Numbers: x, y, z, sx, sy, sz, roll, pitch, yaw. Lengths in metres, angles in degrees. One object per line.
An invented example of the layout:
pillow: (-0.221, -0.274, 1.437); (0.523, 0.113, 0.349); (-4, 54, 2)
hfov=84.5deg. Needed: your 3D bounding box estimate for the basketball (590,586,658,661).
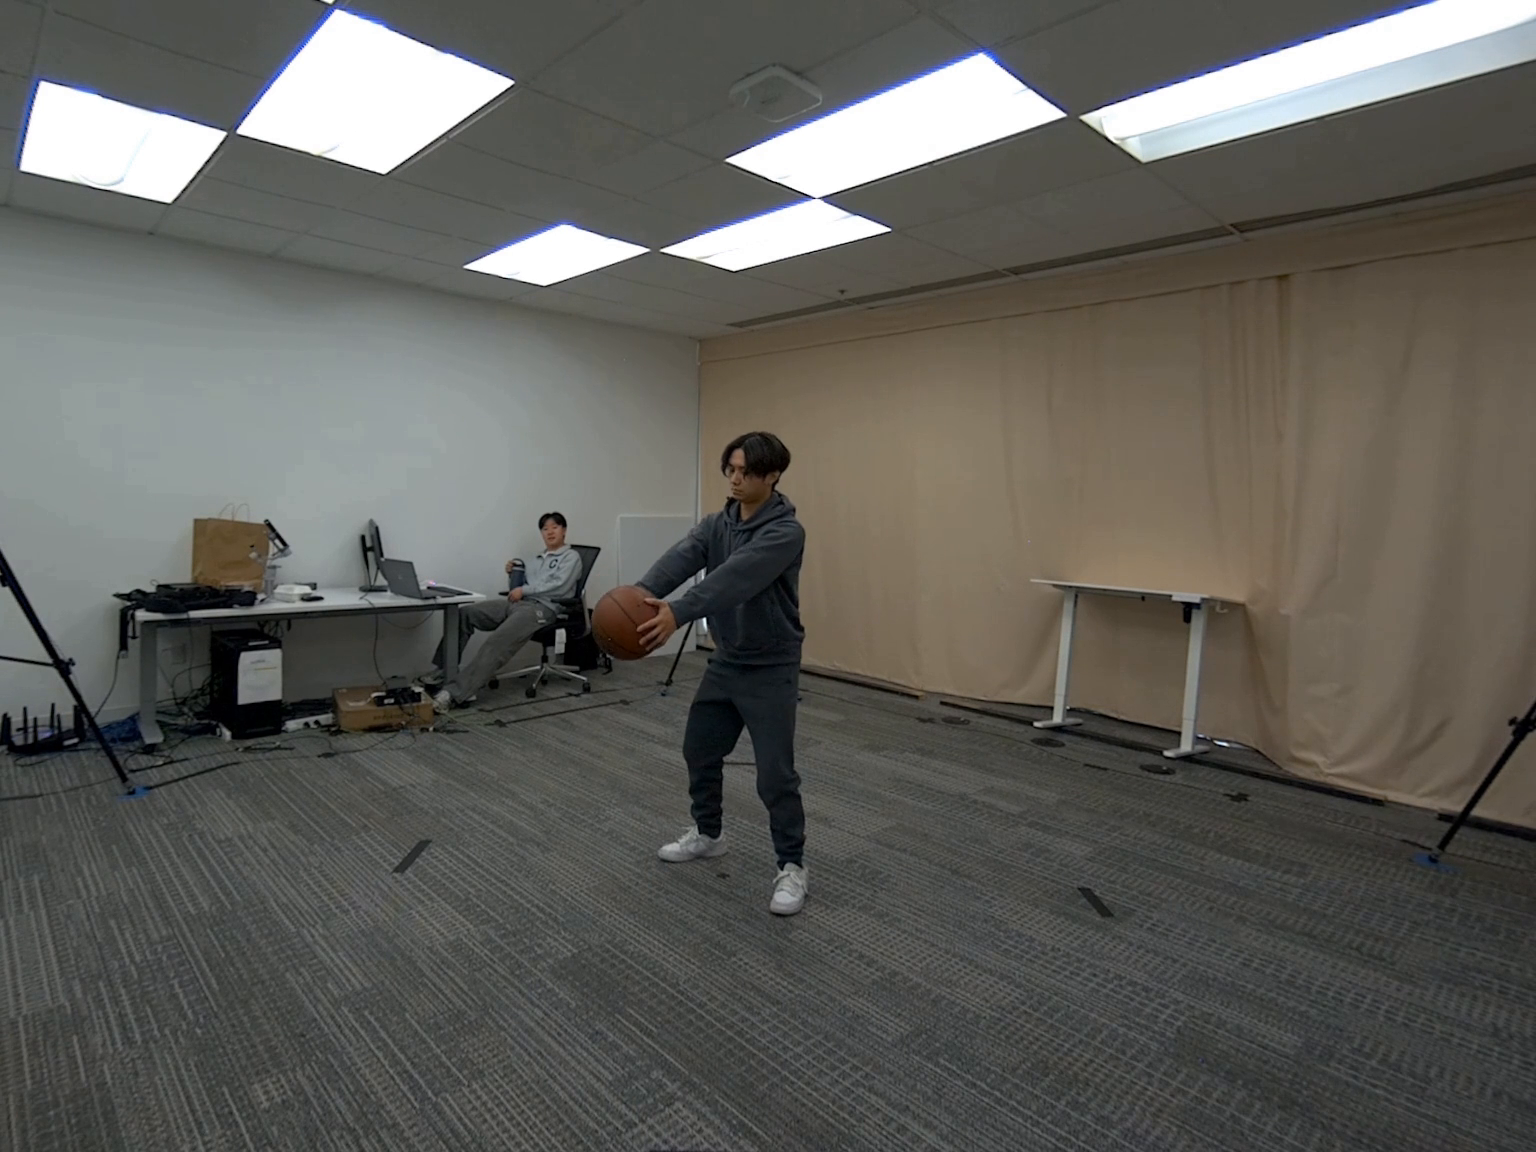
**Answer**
basketball: (-0.449, 0.159, 2.687); (0.236, 0.235, 0.237); (1, 4, -1)
